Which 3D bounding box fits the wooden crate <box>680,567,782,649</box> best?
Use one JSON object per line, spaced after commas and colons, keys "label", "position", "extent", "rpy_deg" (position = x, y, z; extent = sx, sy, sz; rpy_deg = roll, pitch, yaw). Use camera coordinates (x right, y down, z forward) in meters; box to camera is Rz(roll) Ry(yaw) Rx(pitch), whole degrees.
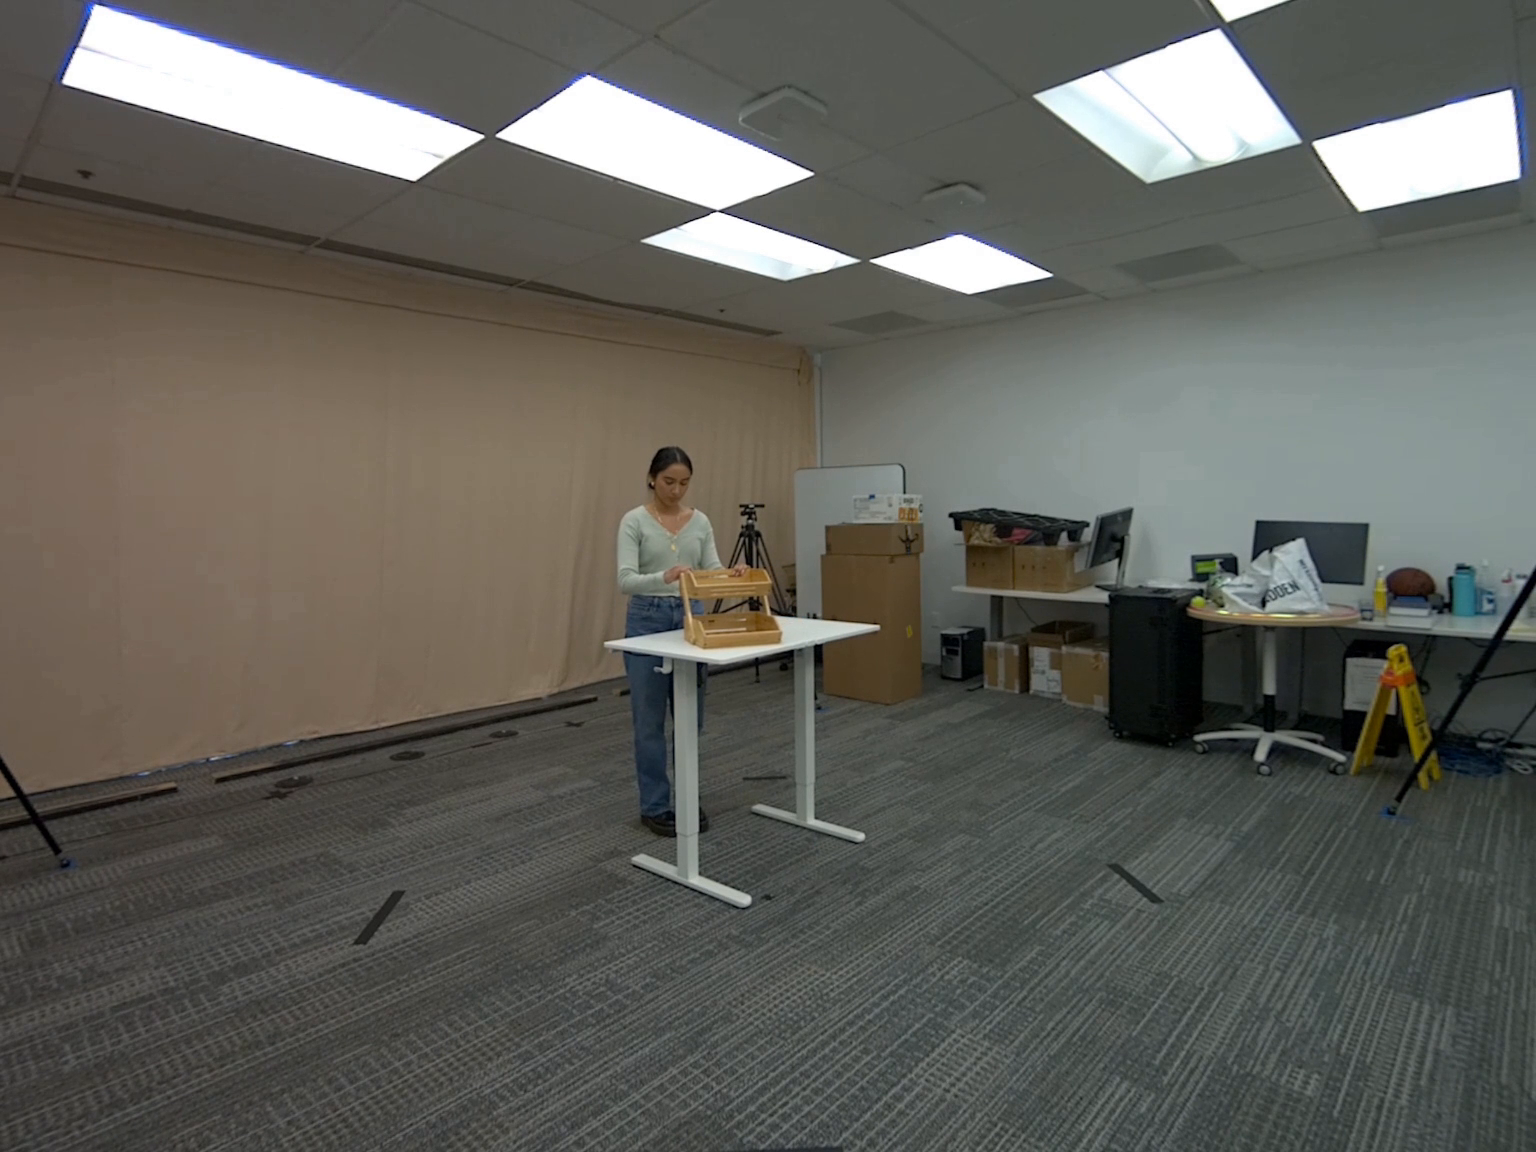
{"label": "wooden crate", "position": [-0.141, 0.112, 3.151], "extent": [0.318, 0.273, 0.309], "rpy_deg": [-1, 3, -20]}
